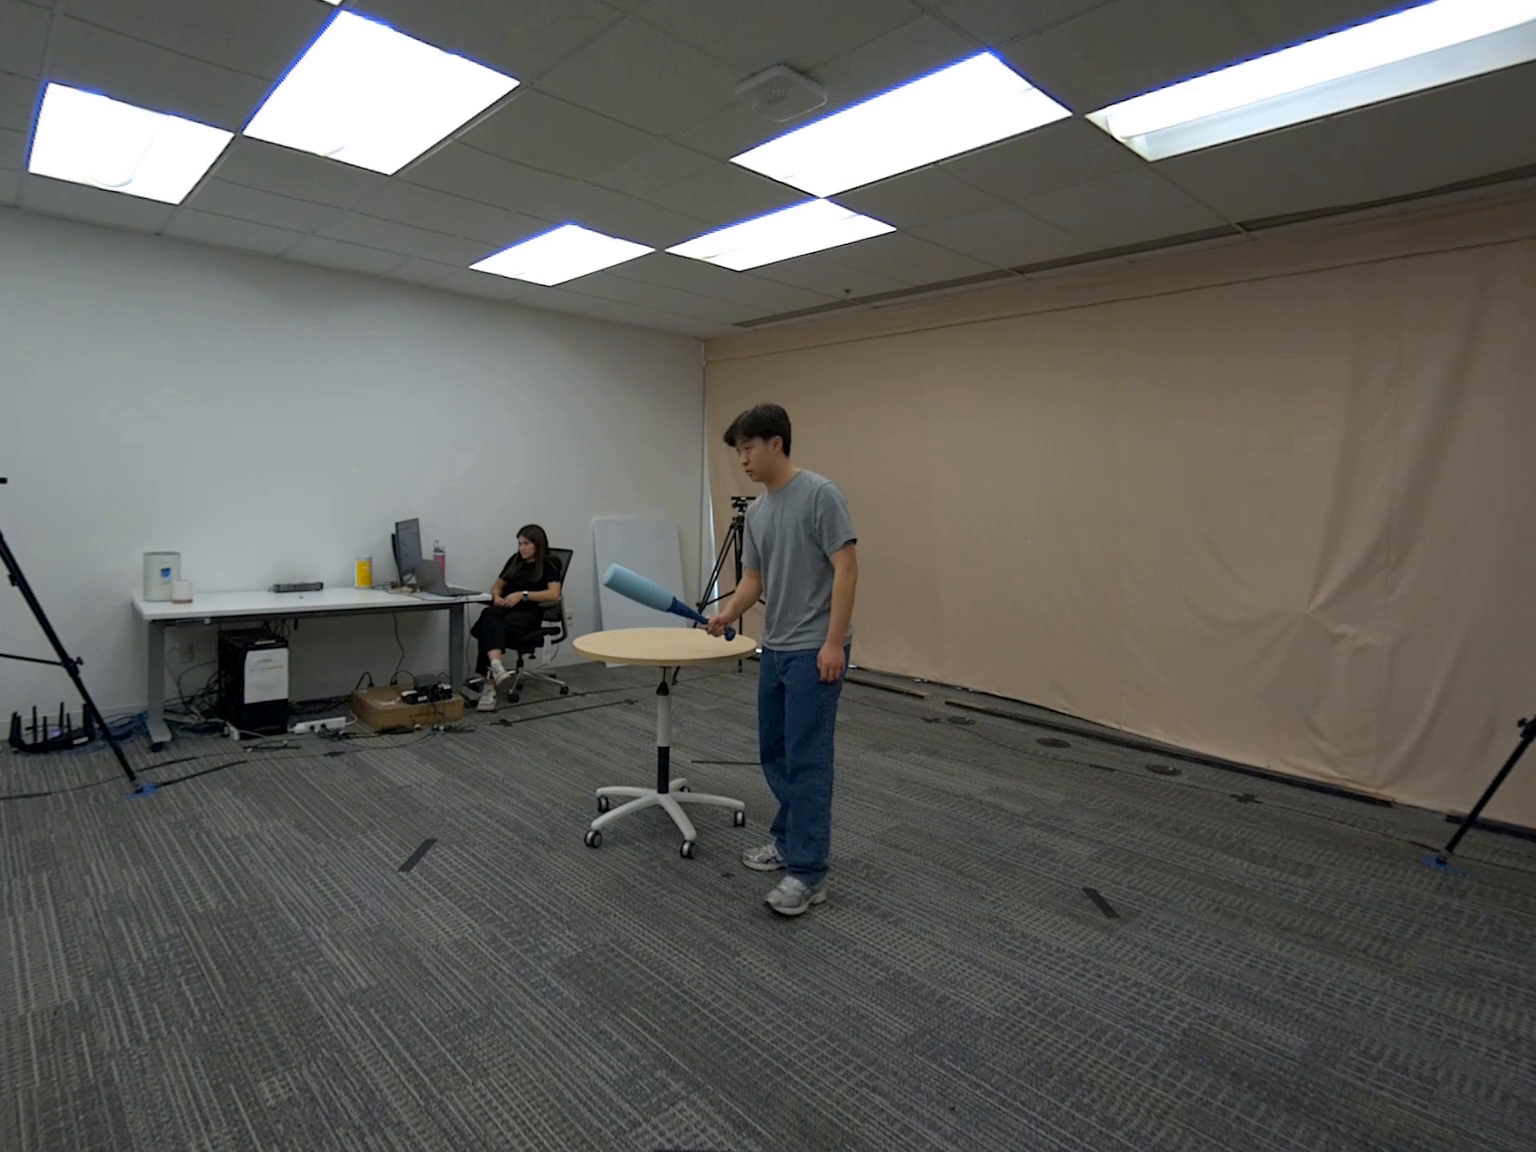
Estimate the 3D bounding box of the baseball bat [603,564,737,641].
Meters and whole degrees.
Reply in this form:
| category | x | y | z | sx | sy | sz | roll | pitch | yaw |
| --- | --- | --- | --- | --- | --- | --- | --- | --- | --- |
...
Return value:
| category | x | y | z | sx | sy | sz | roll | pitch | yaw |
| --- | --- | --- | --- | --- | --- | --- | --- | --- | --- |
| baseball bat | -0.340 | 0.101 | 2.992 | 0.530 | 0.089 | 0.091 | 28 | -8 | -25 |
